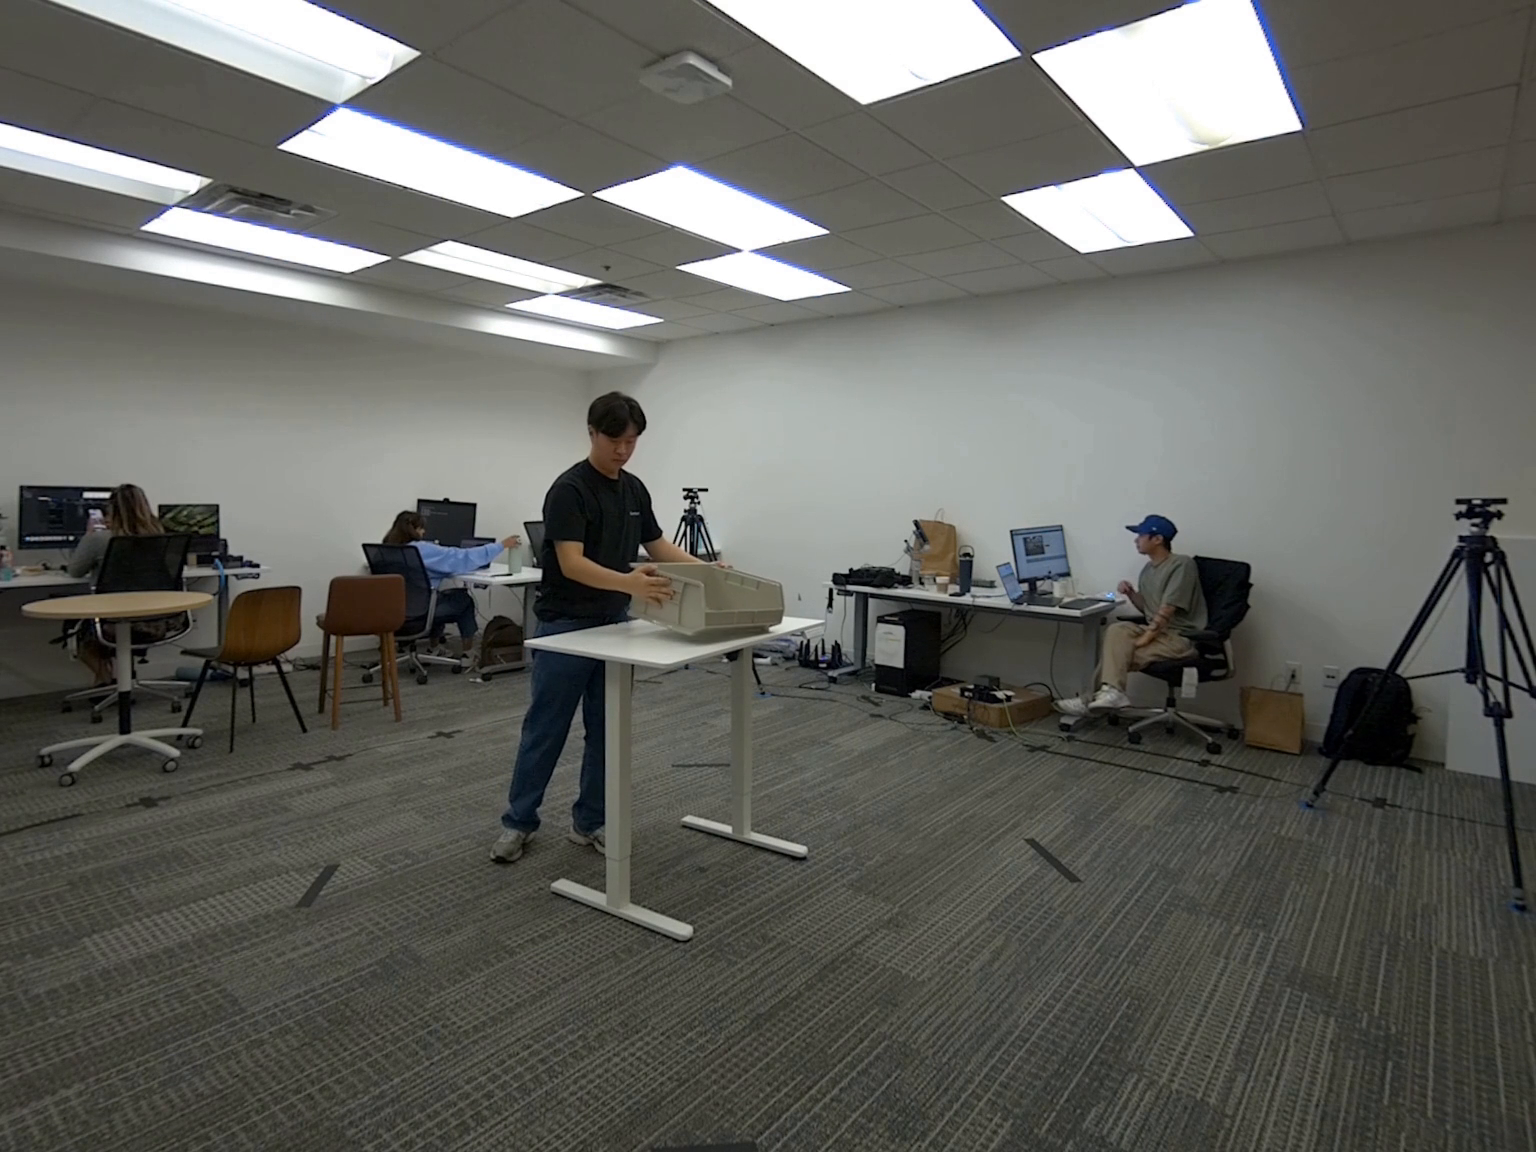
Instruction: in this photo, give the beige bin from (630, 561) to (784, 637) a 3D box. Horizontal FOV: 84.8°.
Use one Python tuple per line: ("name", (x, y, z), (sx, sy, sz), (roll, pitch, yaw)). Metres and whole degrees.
("beige bin", (-0.218, 0.081, 2.975), (0.391, 0.188, 0.409), (12, 8, 40))
